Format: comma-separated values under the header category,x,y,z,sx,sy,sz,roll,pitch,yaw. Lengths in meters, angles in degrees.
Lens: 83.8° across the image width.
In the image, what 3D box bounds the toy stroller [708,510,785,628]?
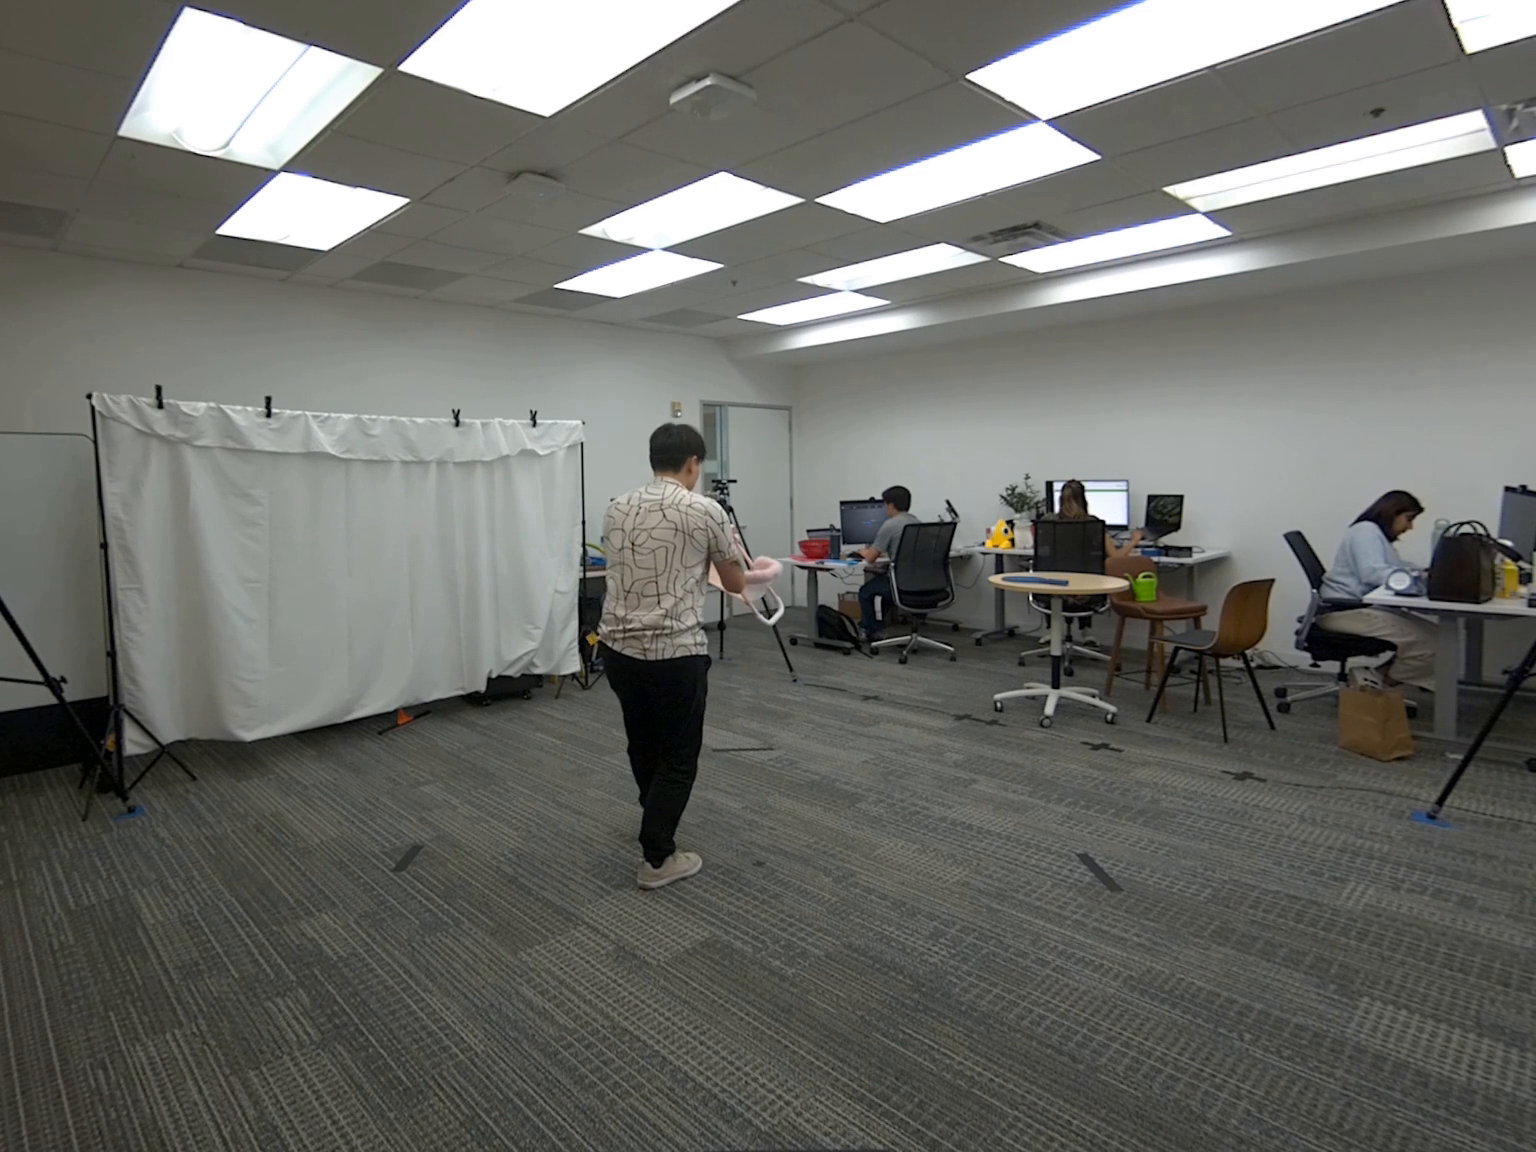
category,x,y,z,sx,sy,sz,roll,pitch,yaw
toy stroller,-0.174,-0.042,3.439,0.548,0.337,0.278,17,20,20
